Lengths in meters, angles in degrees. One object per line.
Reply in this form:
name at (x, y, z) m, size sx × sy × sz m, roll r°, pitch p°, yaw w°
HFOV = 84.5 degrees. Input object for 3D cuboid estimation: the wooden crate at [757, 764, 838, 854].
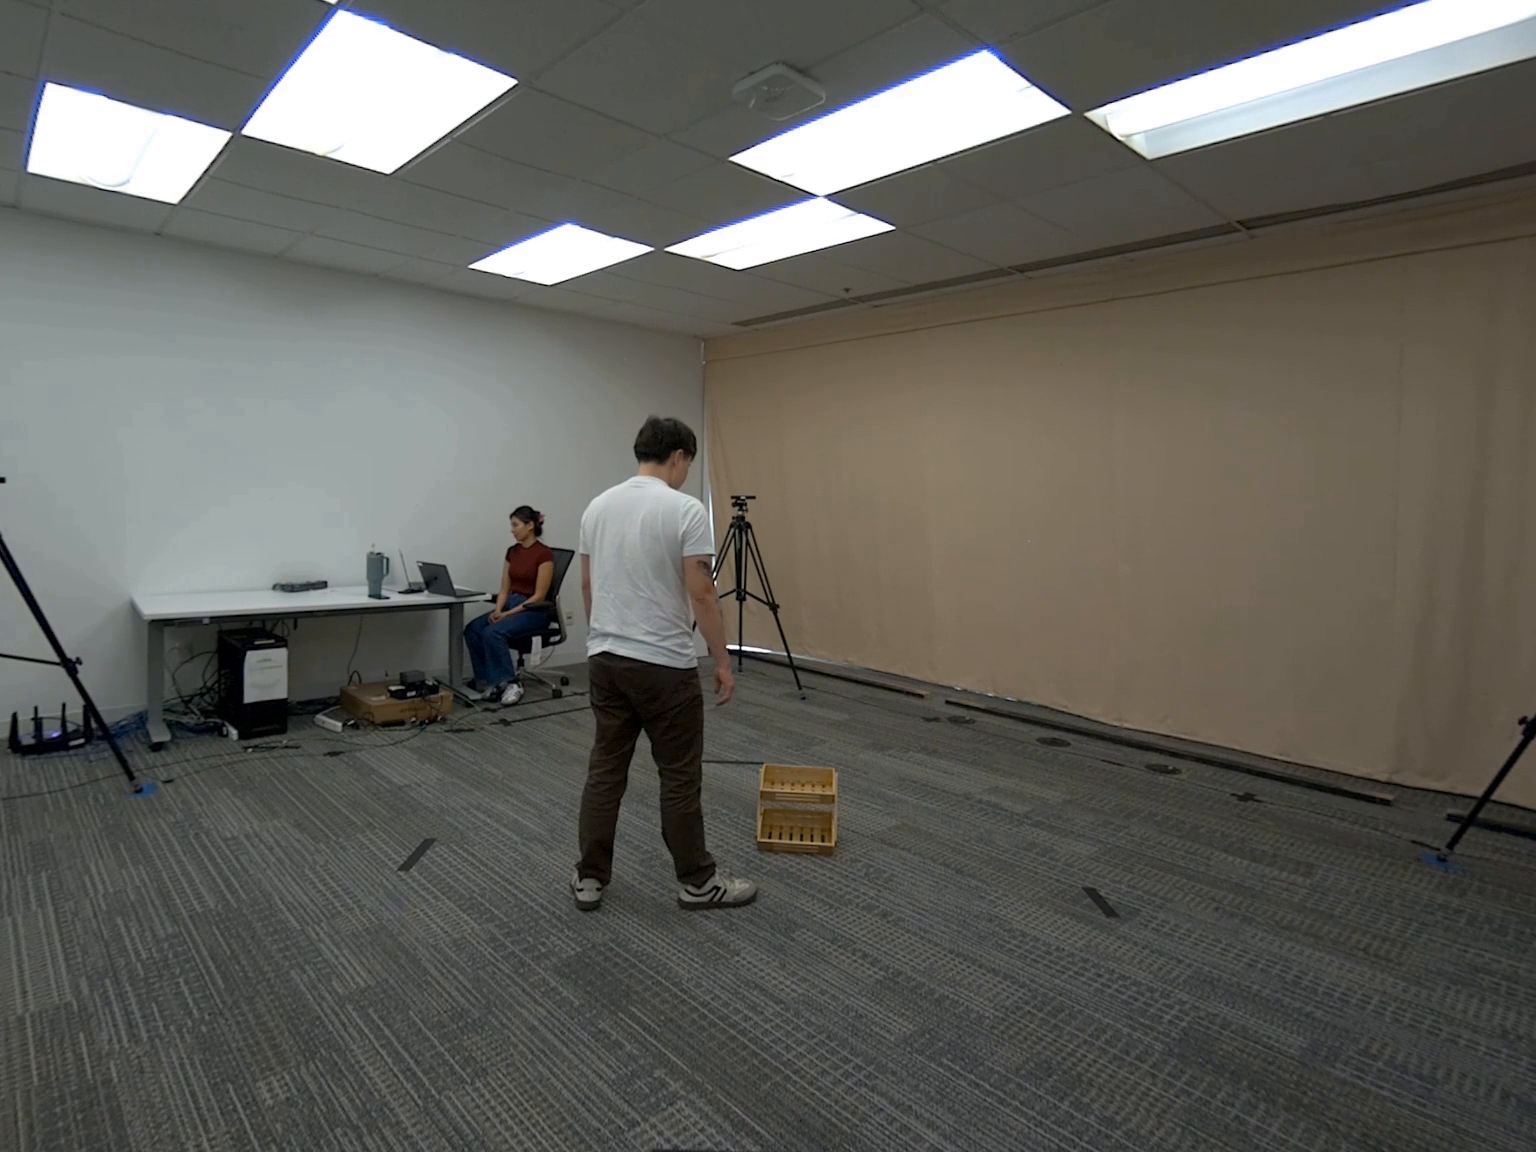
wooden crate at (0.113, 0.945, 3.433) m, size 0.326 × 0.273 × 0.301 m, roll 2°, pitch 3°, yaw 5°
